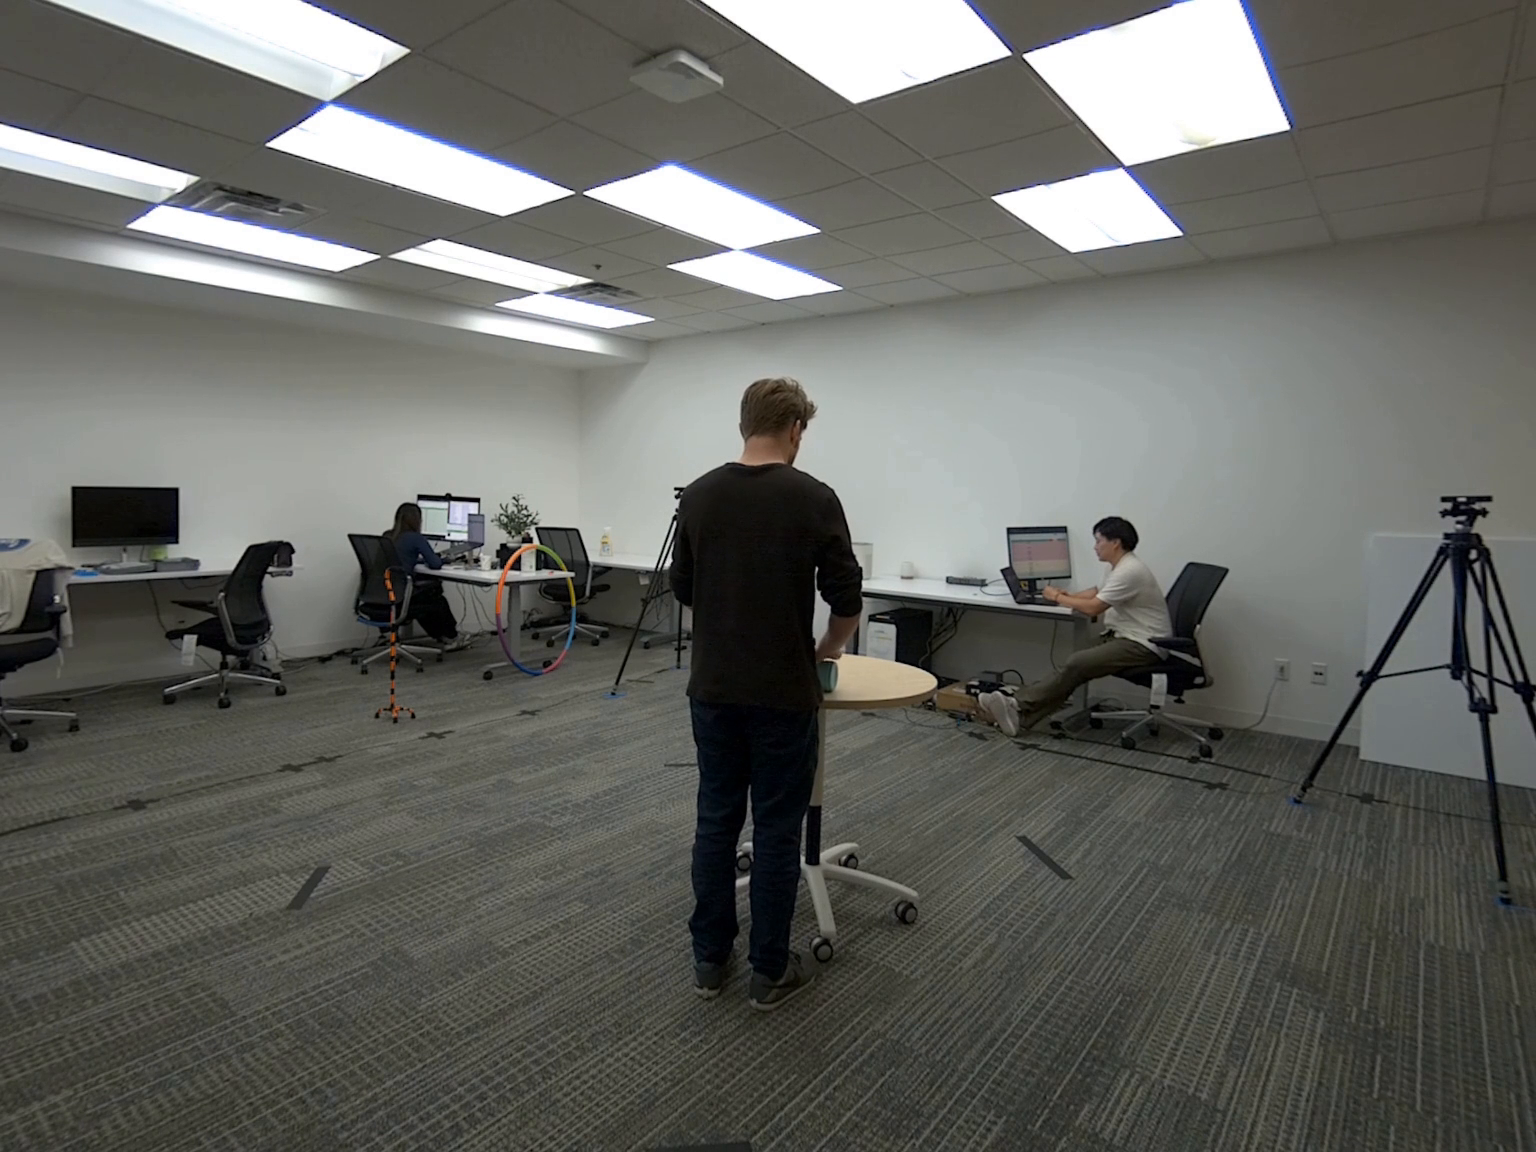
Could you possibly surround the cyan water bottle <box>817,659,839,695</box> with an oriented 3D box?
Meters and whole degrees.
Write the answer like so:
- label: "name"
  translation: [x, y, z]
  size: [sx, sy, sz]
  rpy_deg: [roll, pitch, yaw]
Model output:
- label: "cyan water bottle"
  translation: [0.066, 0.291, 2.614]
  size: [0.290, 0.092, 0.090]
  rpy_deg: [3, 5, 21]
